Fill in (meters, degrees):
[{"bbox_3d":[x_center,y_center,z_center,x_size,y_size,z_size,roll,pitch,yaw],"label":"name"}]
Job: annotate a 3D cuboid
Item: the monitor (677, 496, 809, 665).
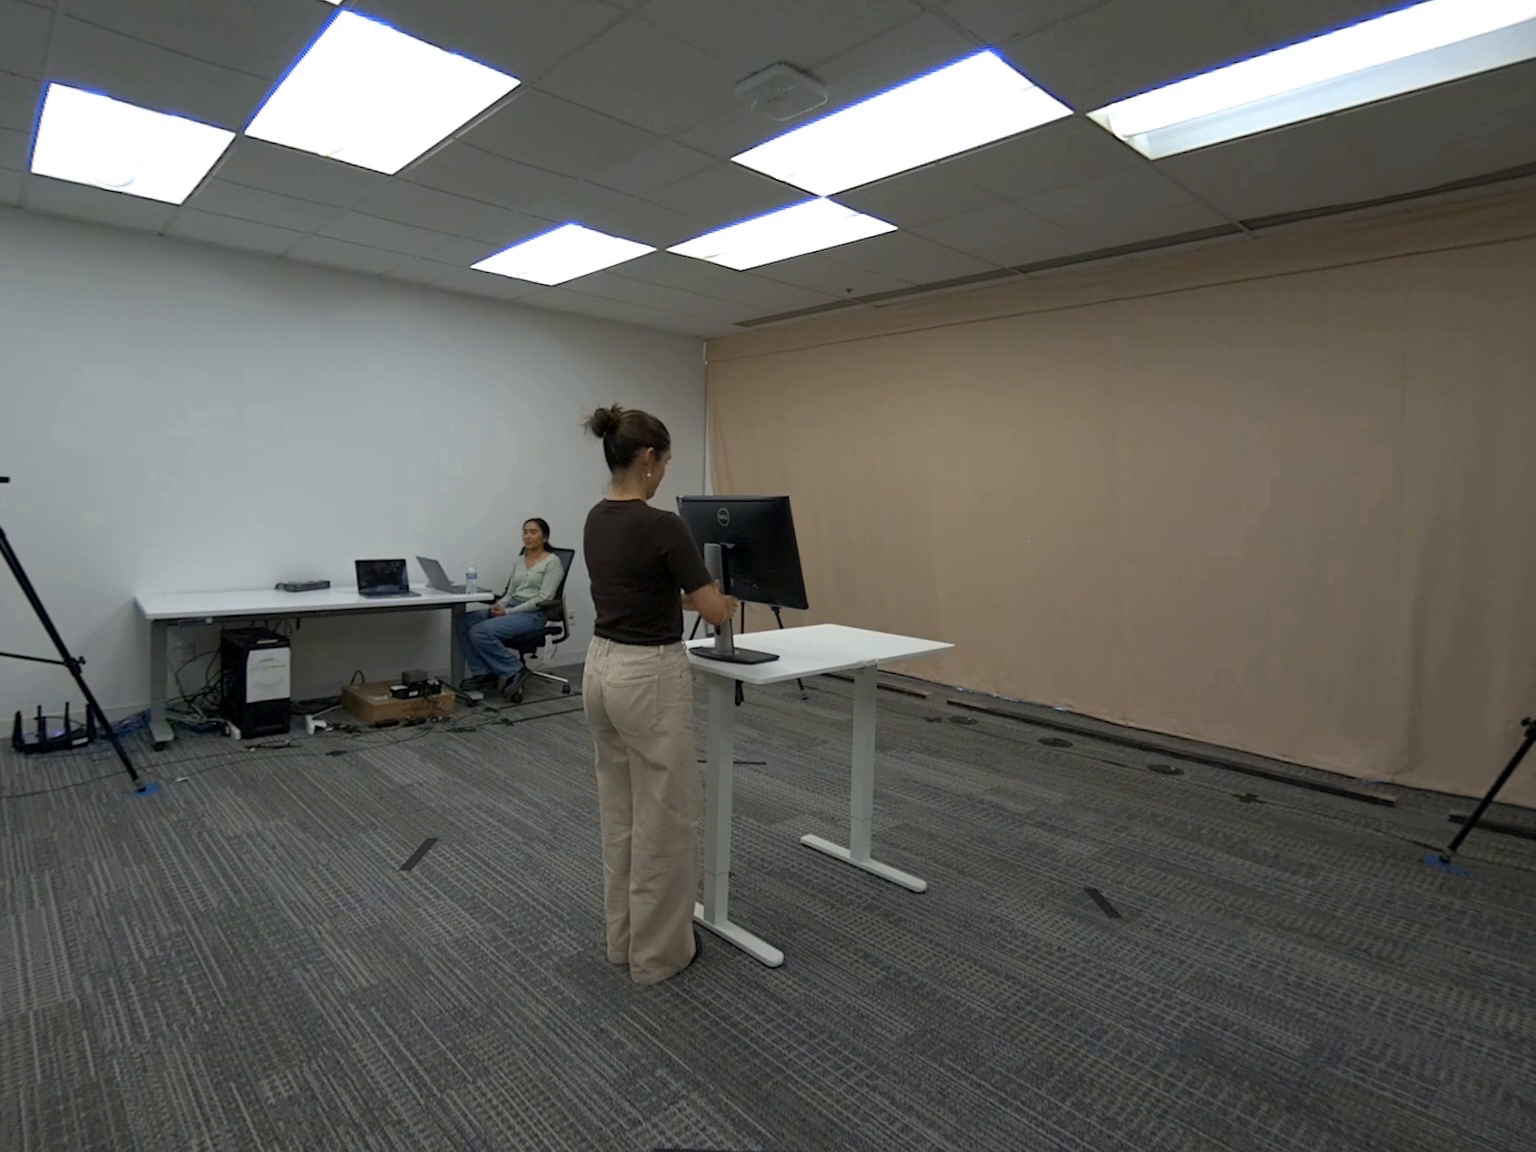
[{"bbox_3d":[-0.119,0.007,2.662,0.183,0.521,0.553,-4,6,-44],"label":"monitor"}]
